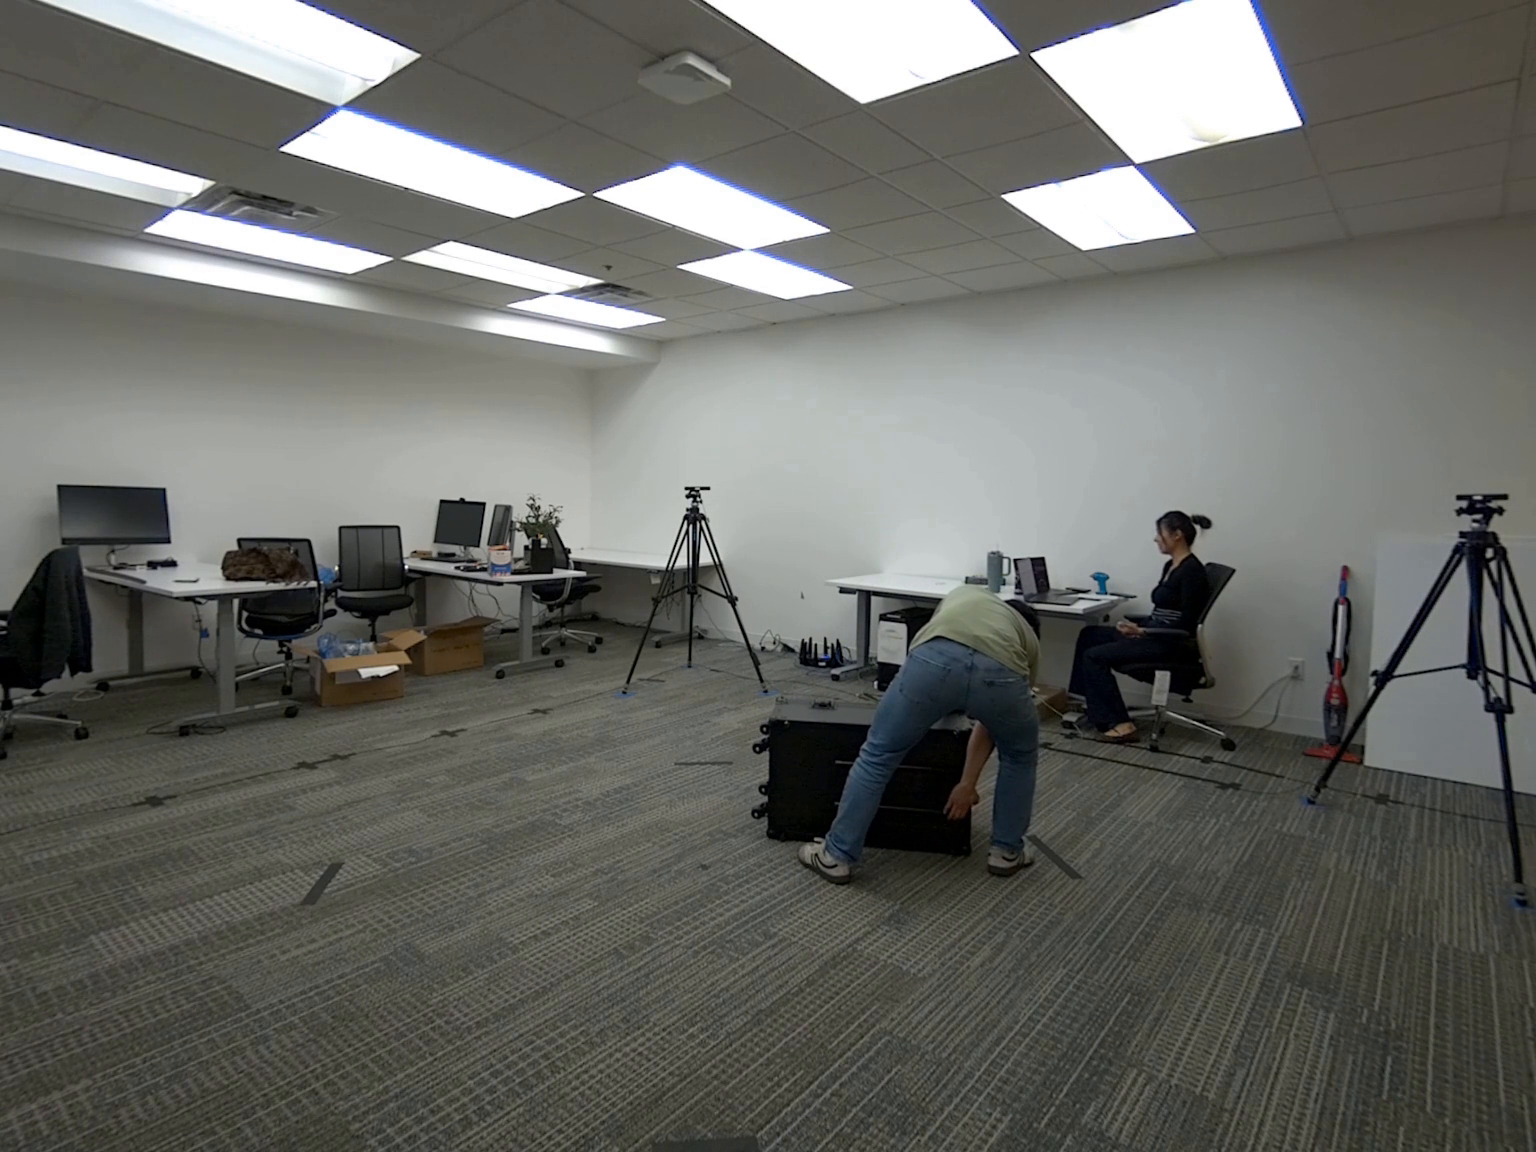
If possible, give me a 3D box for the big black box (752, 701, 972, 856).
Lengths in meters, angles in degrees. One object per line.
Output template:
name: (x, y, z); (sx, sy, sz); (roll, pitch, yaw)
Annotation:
big black box: (0.424, 0.785, 3.460); (0.870, 0.520, 0.394); (2, 4, 8)
